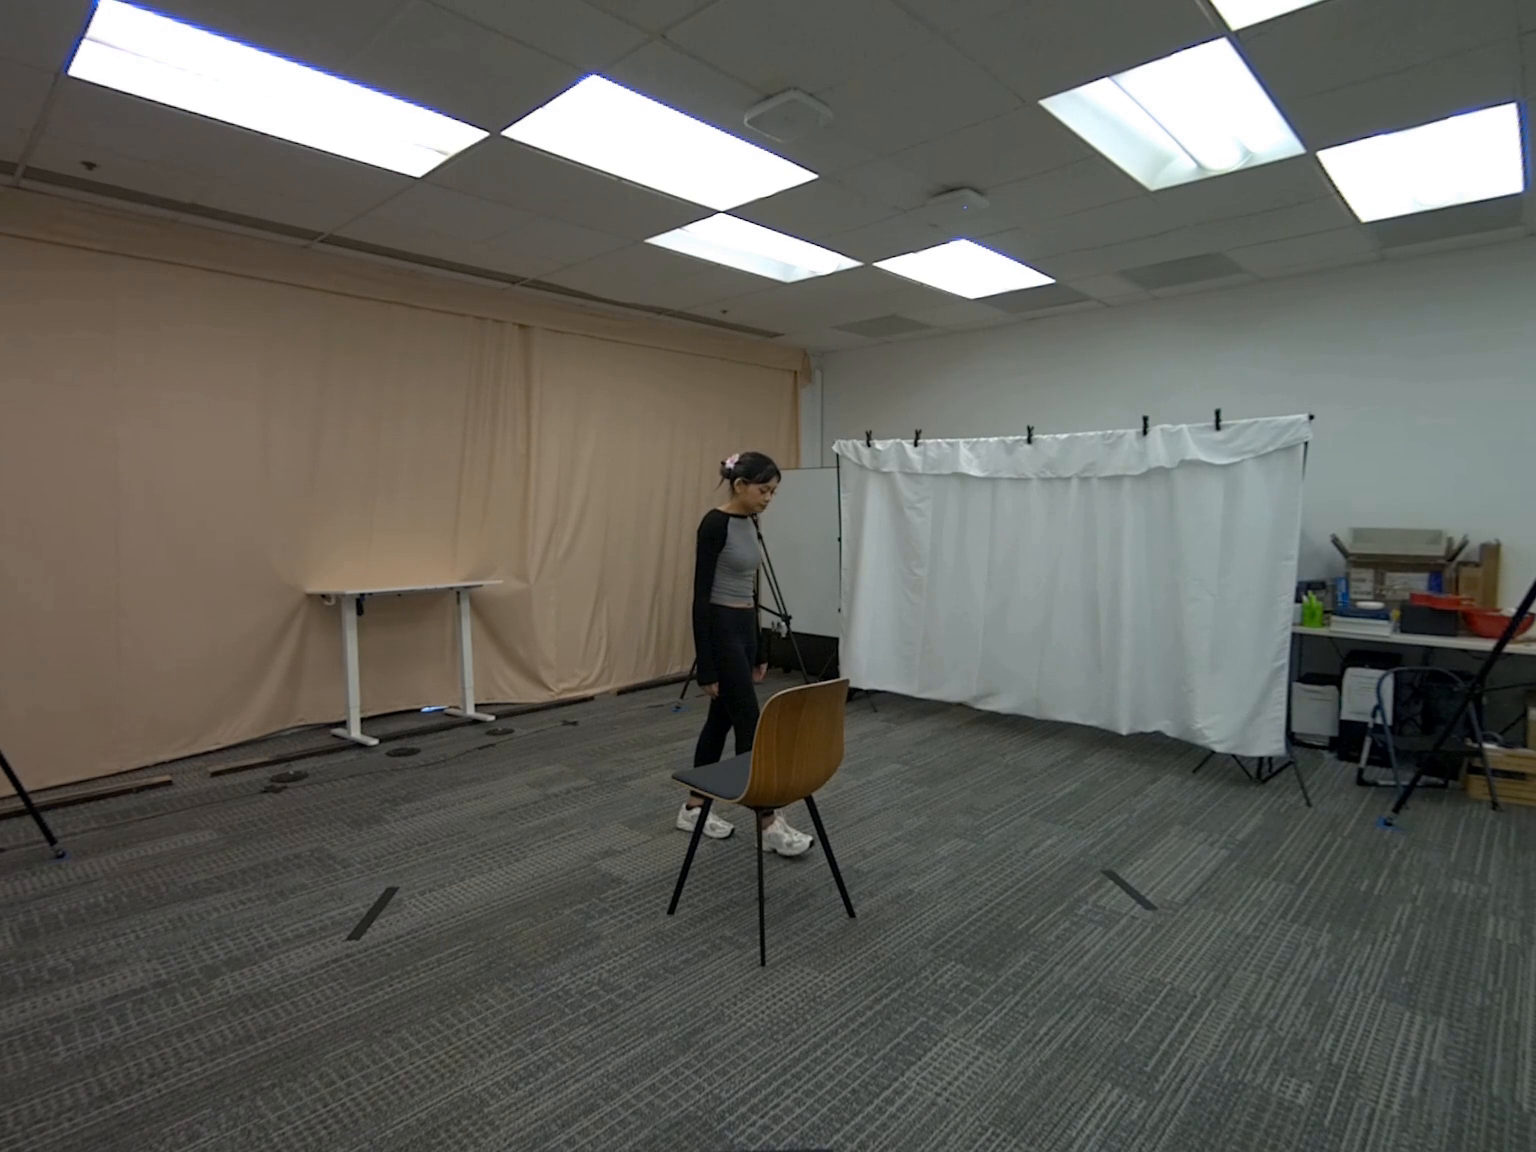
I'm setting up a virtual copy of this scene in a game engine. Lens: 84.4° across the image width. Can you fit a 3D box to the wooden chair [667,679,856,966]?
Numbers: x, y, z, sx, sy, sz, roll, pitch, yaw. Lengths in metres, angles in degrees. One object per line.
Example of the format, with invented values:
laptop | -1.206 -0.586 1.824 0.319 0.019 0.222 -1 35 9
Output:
wooden chair | -0.026 0.726 2.834 0.463 0.874 0.541 -4 9 -44
